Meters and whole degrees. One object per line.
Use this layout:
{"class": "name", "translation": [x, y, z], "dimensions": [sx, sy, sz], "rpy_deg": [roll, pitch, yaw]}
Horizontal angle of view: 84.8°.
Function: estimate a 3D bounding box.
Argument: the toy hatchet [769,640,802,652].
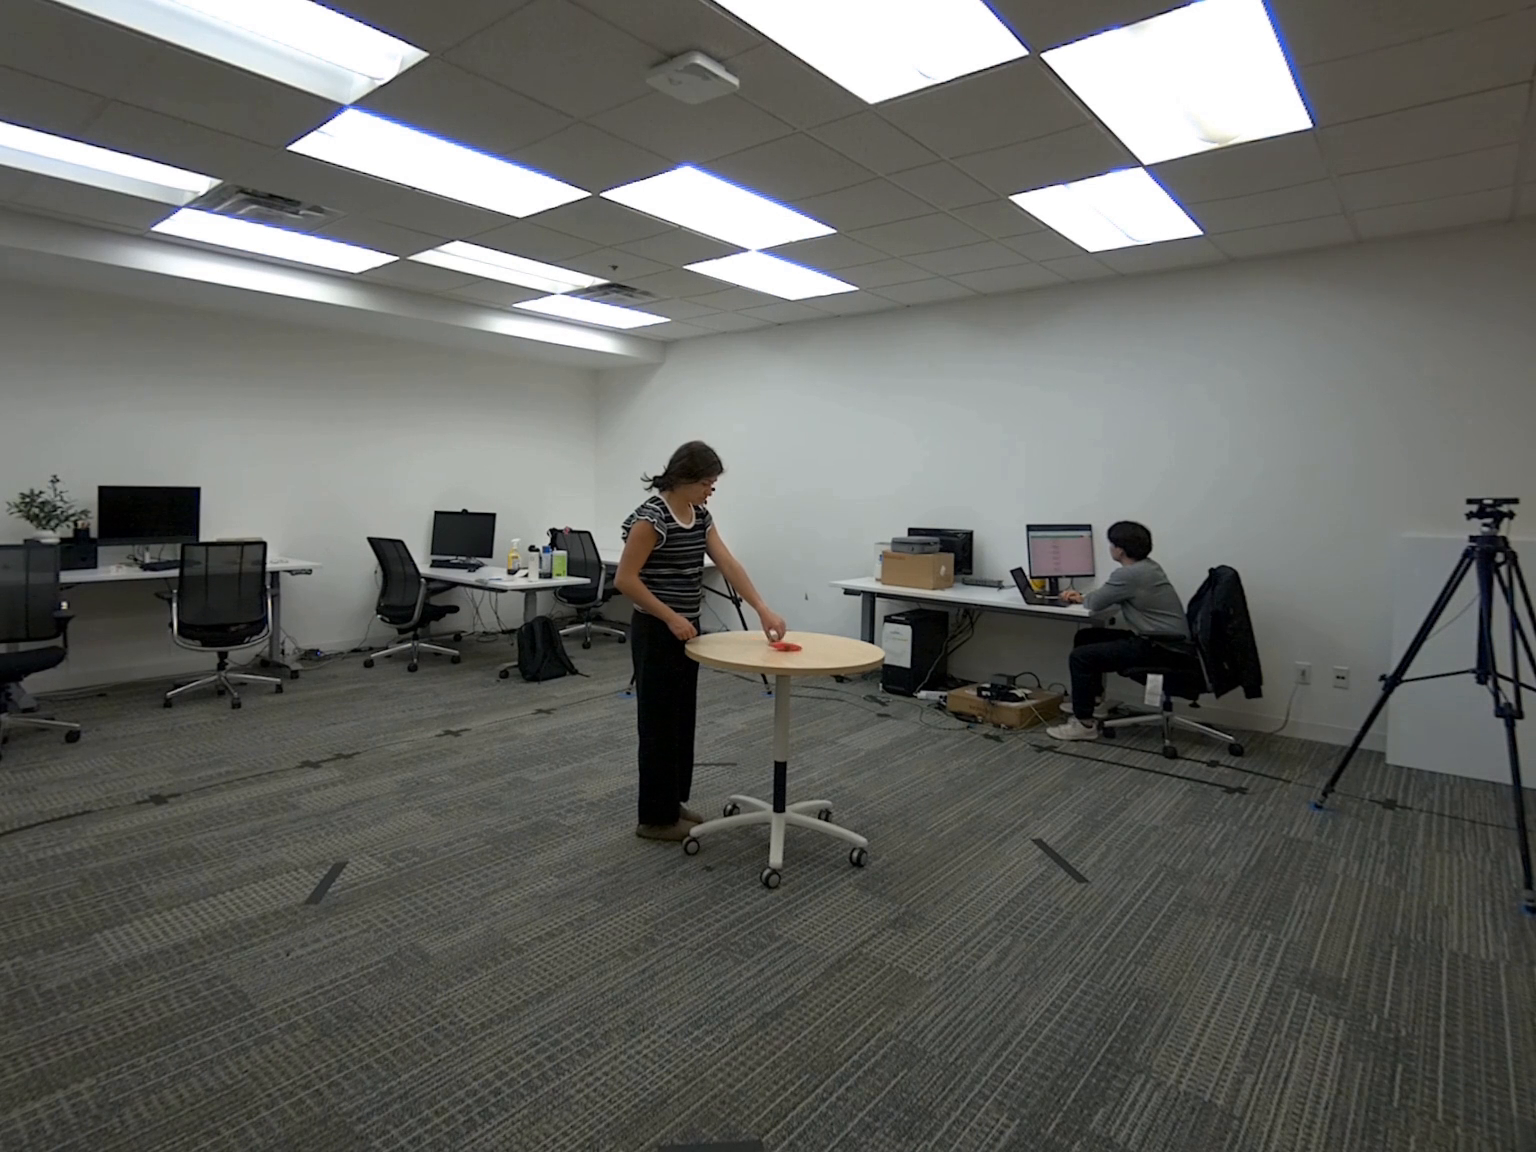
{"class": "toy hatchet", "translation": [0.059, 0.257, 3.328], "dimensions": [0.132, 0.029, 0.269], "rpy_deg": [4, 4, 4]}
